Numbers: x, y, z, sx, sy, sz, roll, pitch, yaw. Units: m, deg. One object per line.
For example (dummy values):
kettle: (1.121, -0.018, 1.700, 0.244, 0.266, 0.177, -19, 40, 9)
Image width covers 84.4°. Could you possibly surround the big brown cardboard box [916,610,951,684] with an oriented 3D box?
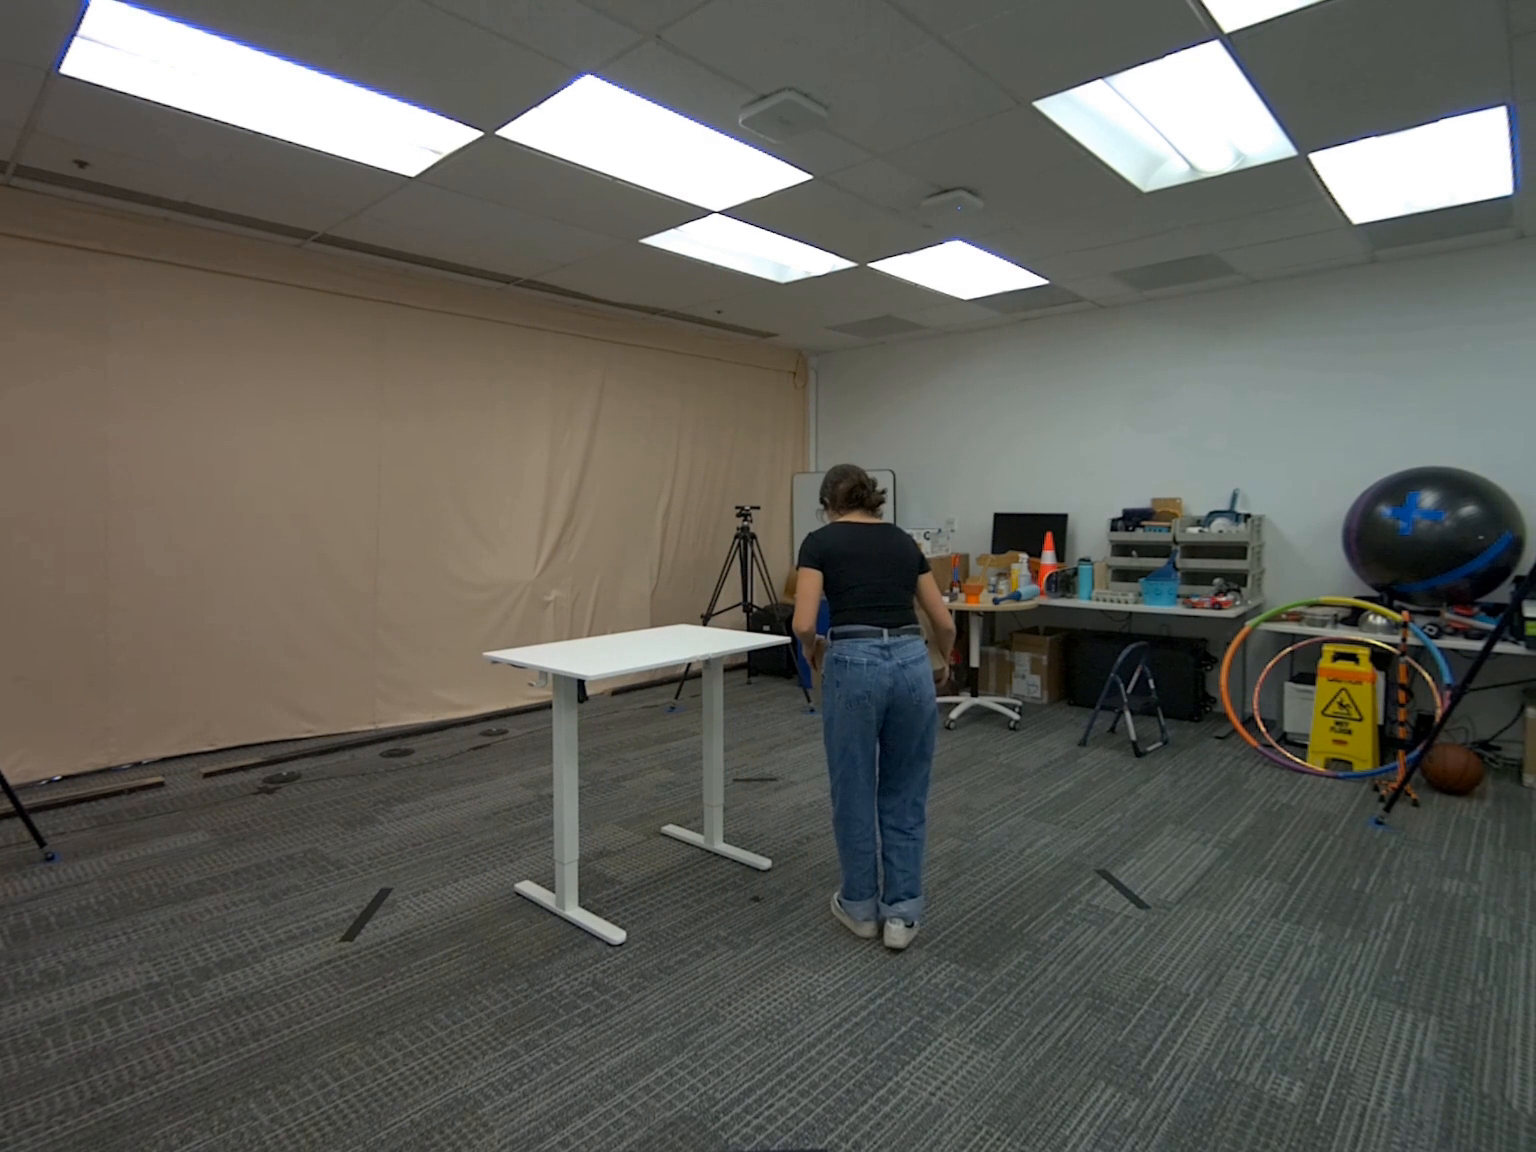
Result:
big brown cardboard box: (0.391, 0.370, 3.129, 0.418, 0.238, 0.576, -15, -23, 1)
